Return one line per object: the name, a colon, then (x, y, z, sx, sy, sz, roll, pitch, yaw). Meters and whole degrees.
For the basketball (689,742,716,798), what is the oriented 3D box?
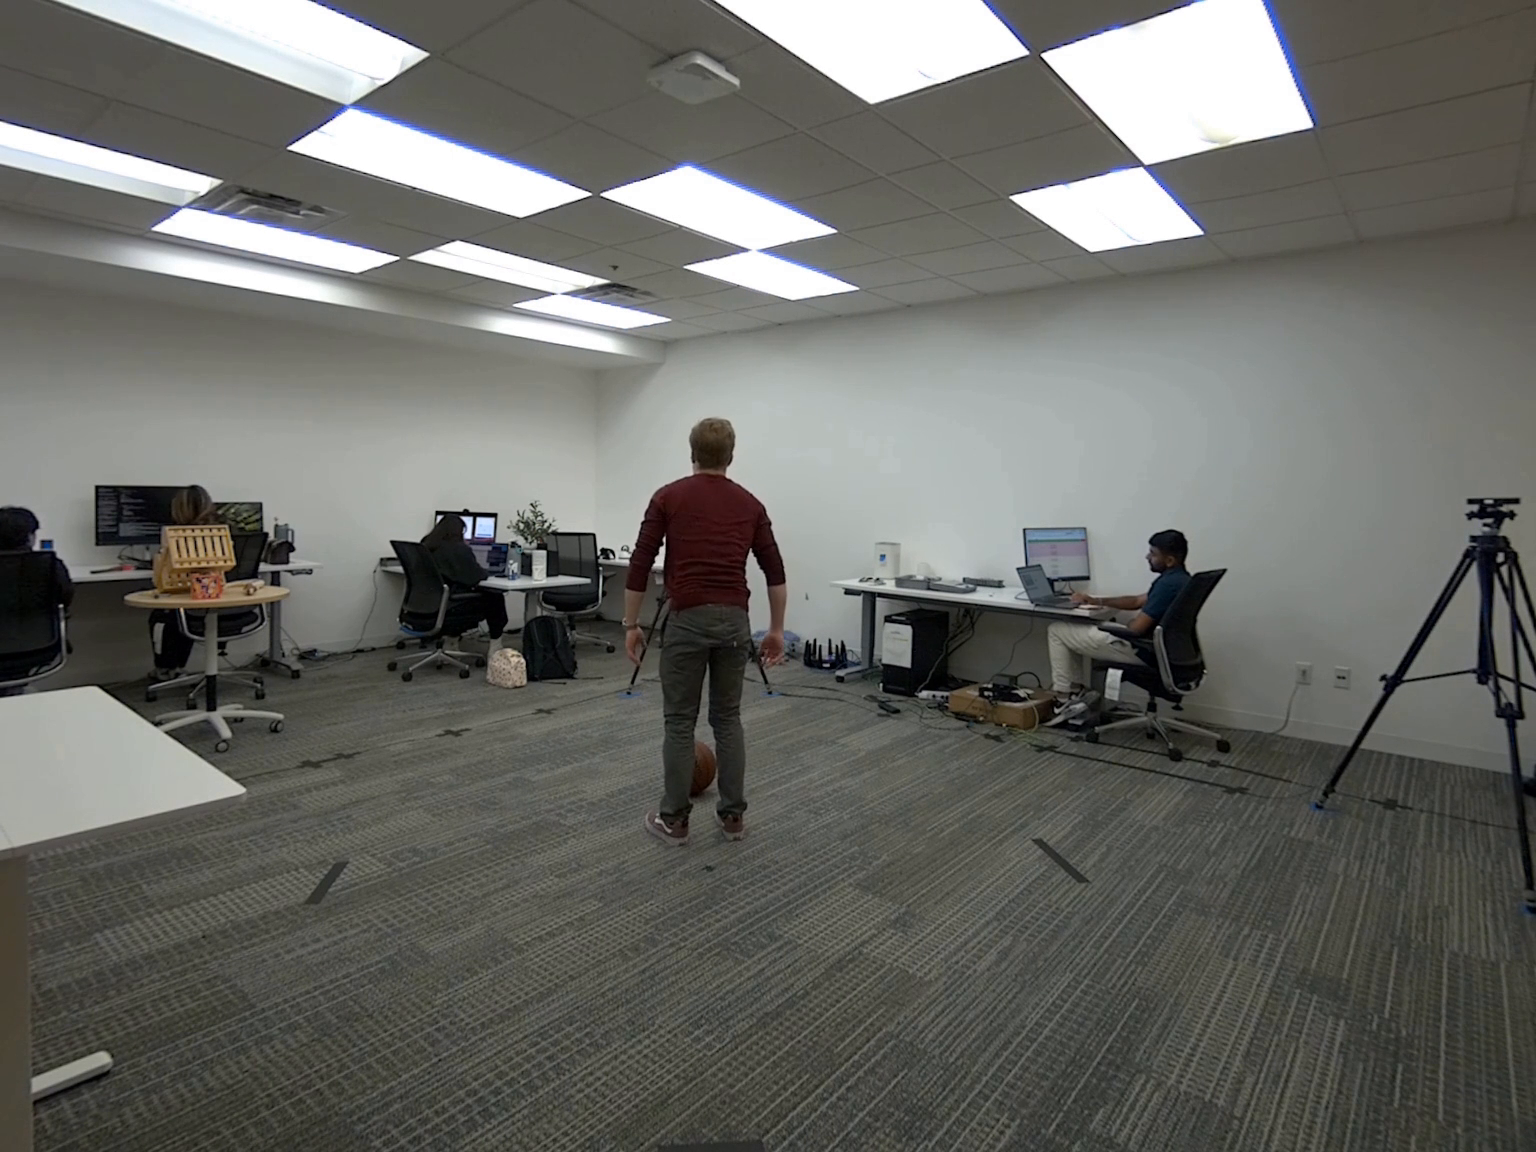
basketball: (-0.356, 0.861, 3.872, 0.235, 0.235, 0.237, 1, 4, -2)
